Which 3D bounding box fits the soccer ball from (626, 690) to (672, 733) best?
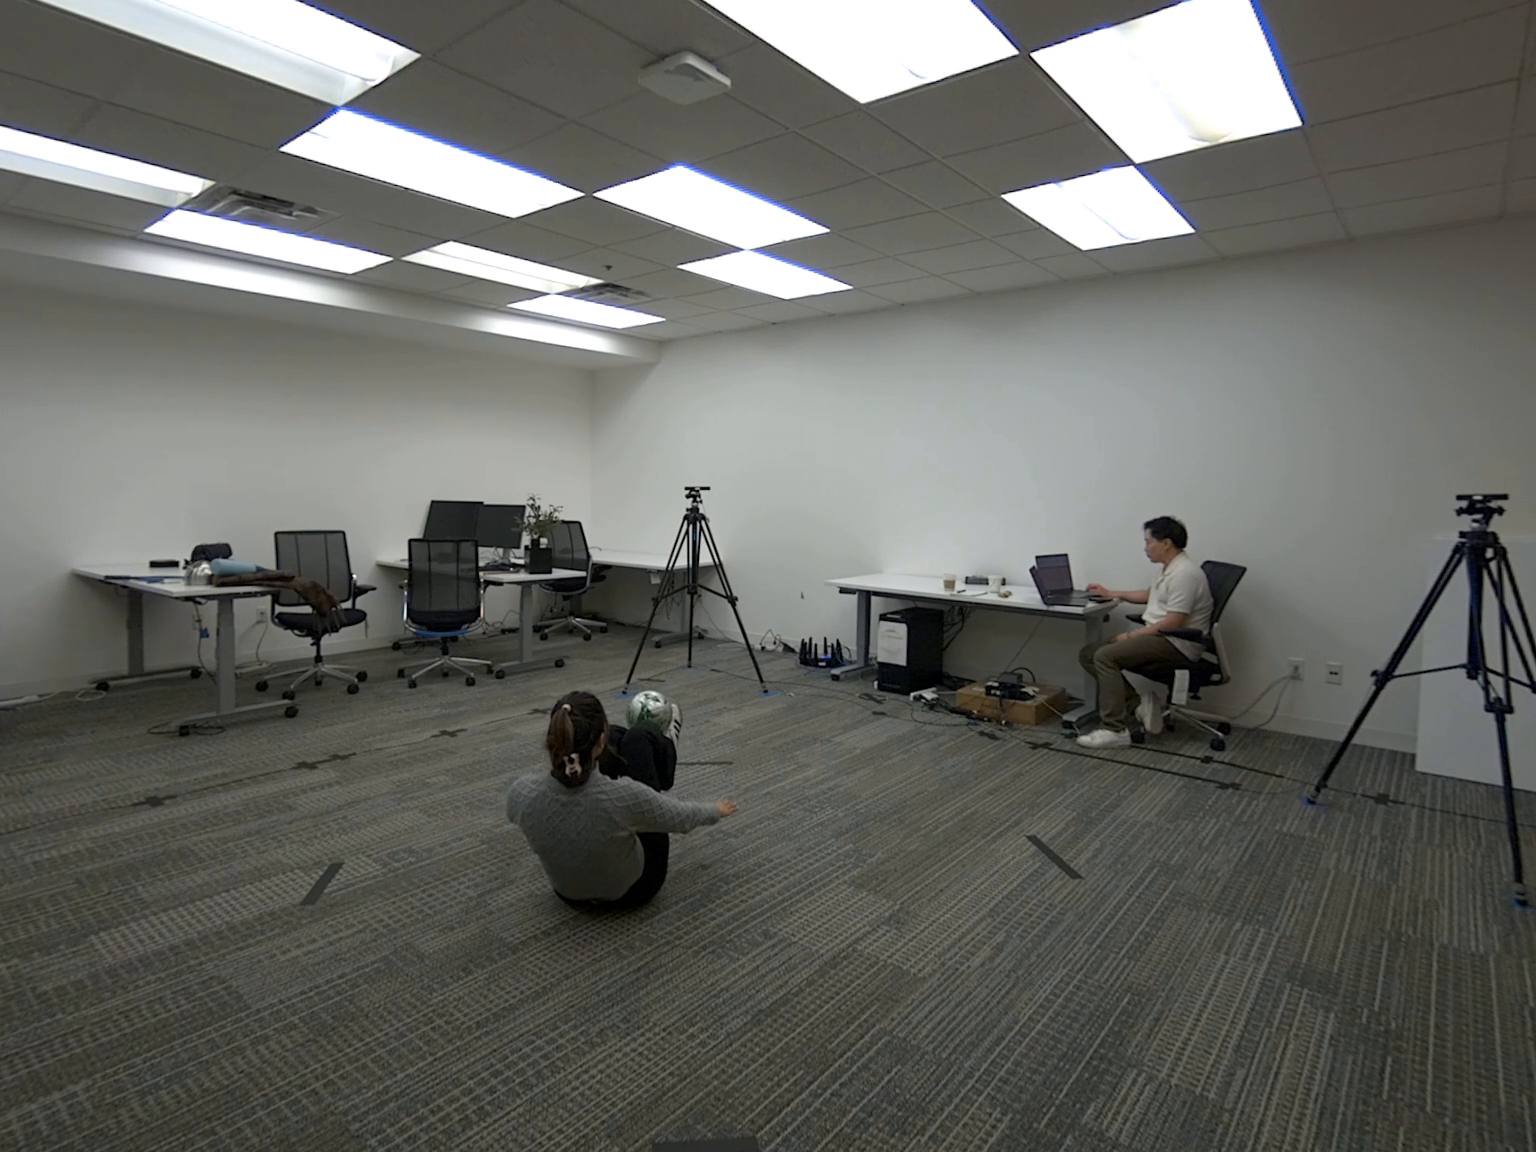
[{"bbox_3d":[-0.481,0.550,3.362,0.187,0.187,0.188,0,4,-2],"label":"soccer ball"}]
